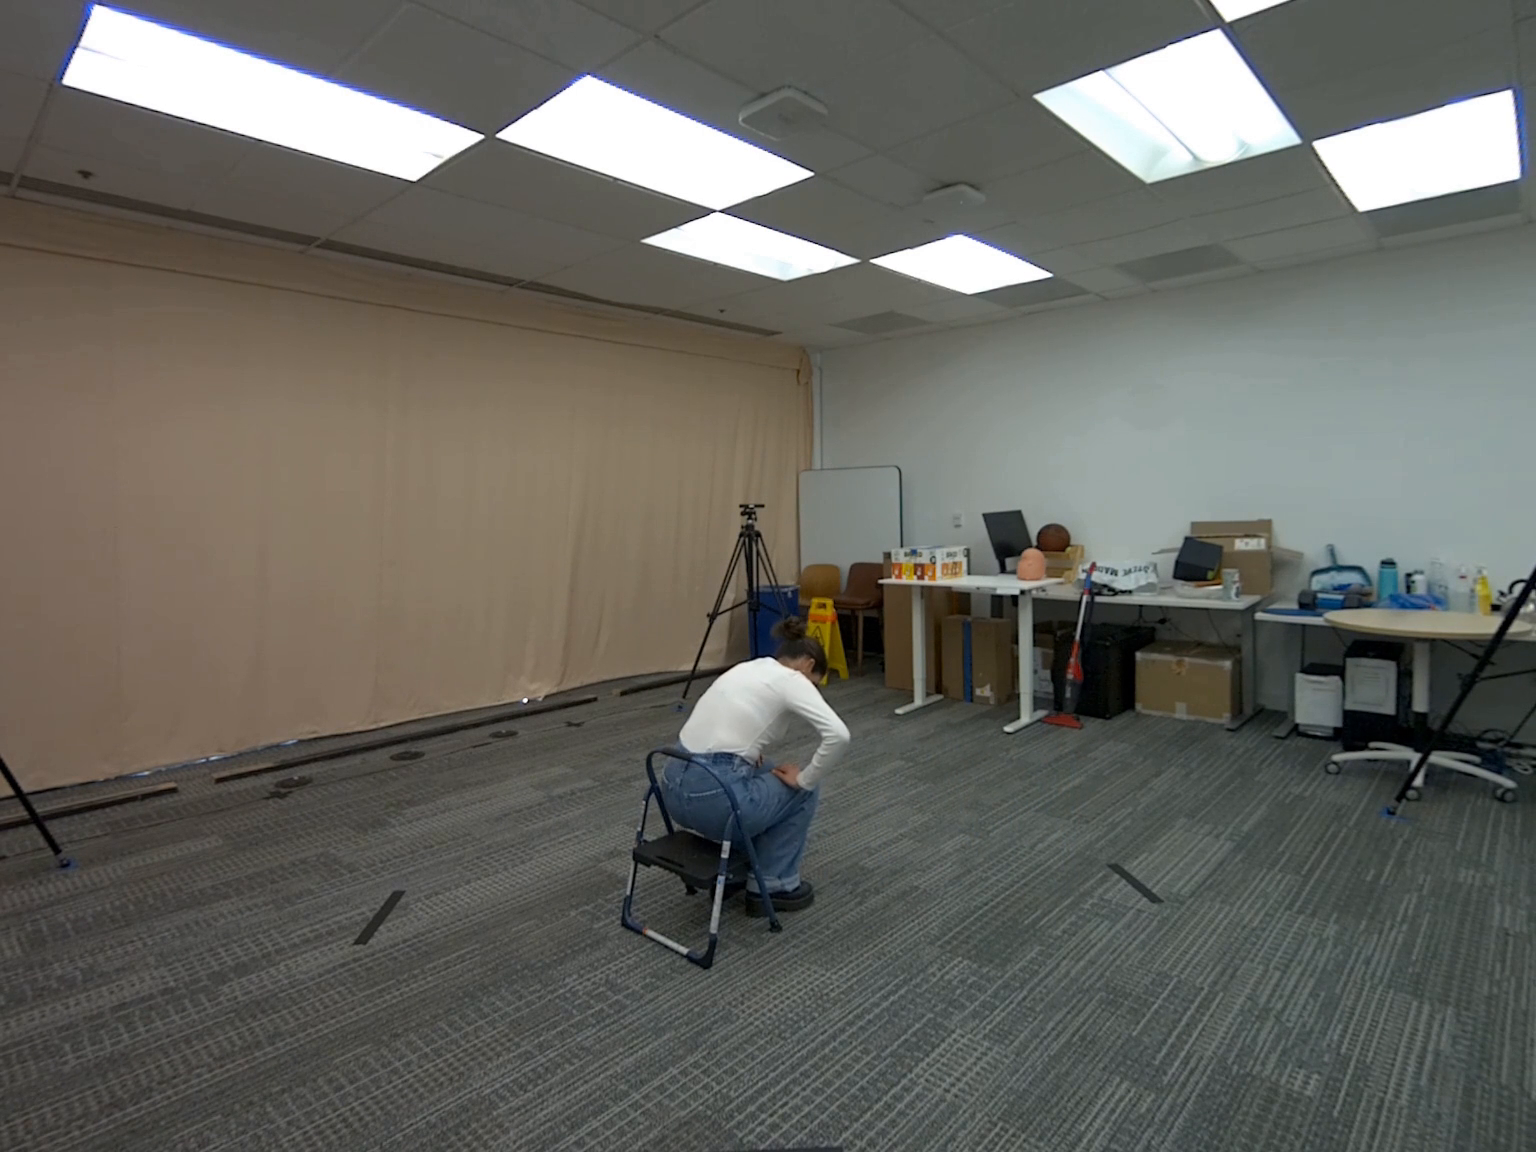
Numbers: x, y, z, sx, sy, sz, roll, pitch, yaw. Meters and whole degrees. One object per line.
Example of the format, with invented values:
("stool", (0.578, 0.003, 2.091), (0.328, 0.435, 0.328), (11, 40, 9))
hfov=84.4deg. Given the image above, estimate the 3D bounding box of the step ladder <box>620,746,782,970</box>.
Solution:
("step ladder", (-0.235, 0.859, 2.764), (0.445, 0.605, 0.339), (2, 4, 42))
